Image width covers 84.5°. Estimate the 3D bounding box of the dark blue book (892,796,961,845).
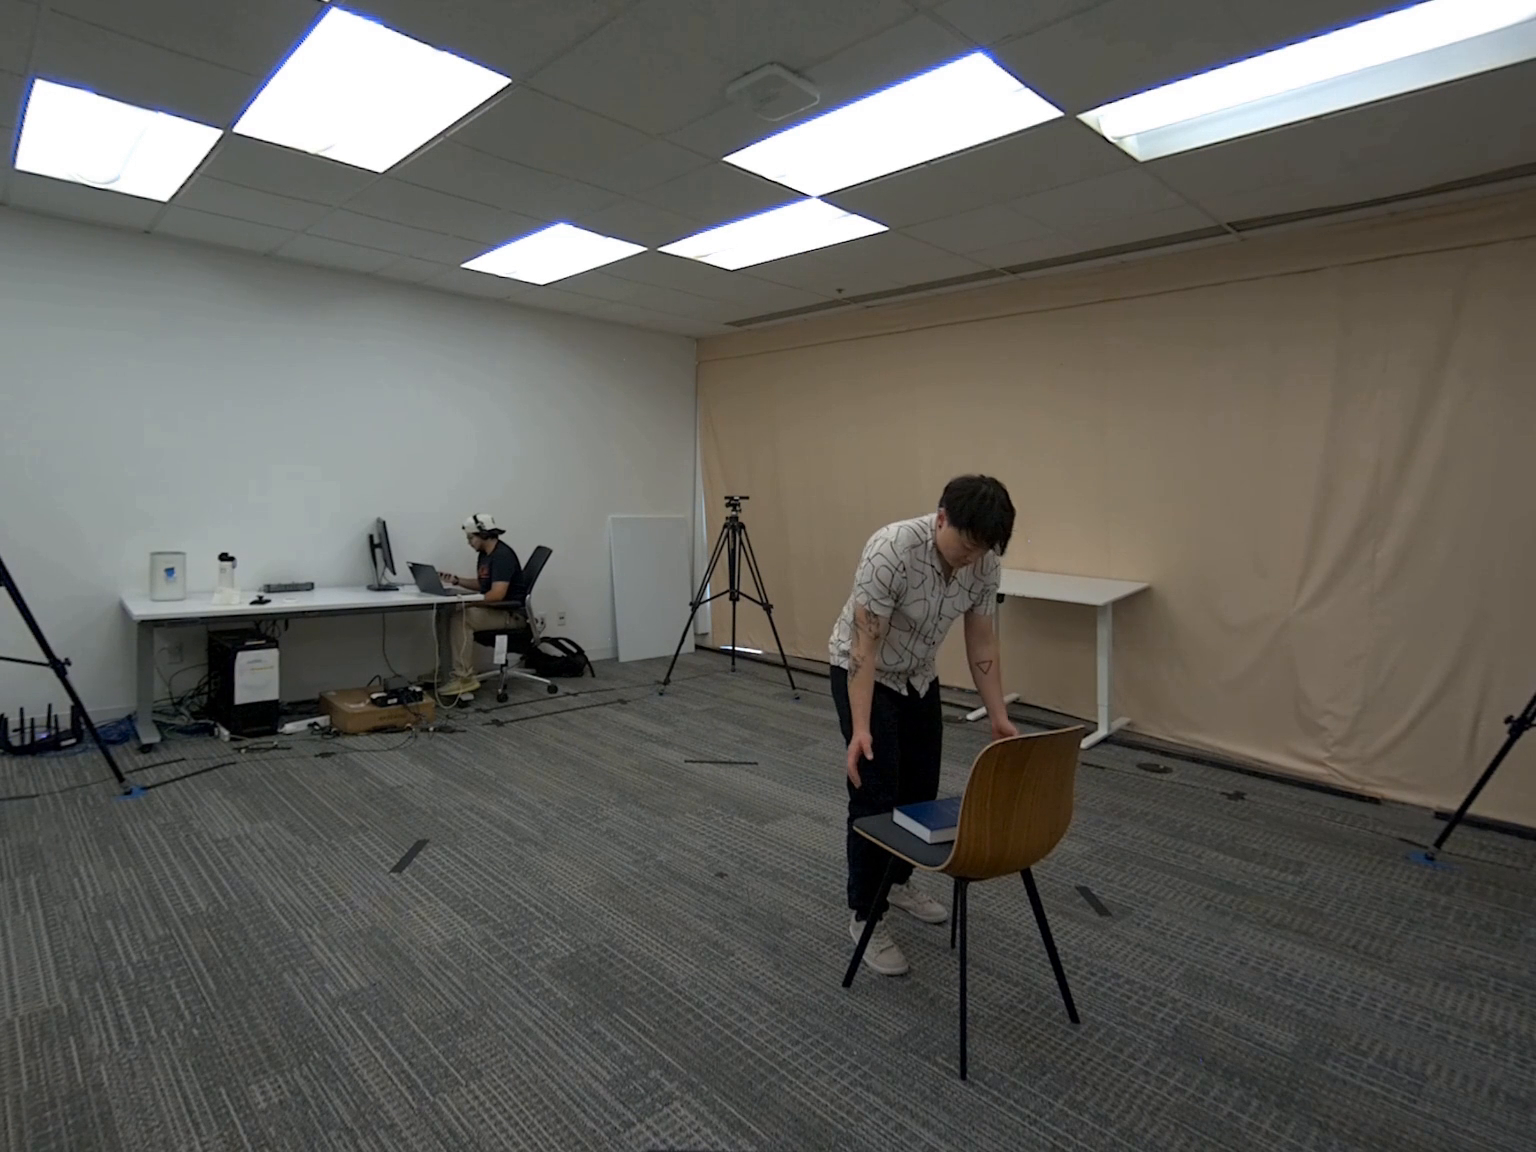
[{"bbox_3d":[0.485,0.686,2.357,0.240,0.045,0.167,0,8,-29],"label":"dark blue book"}]
